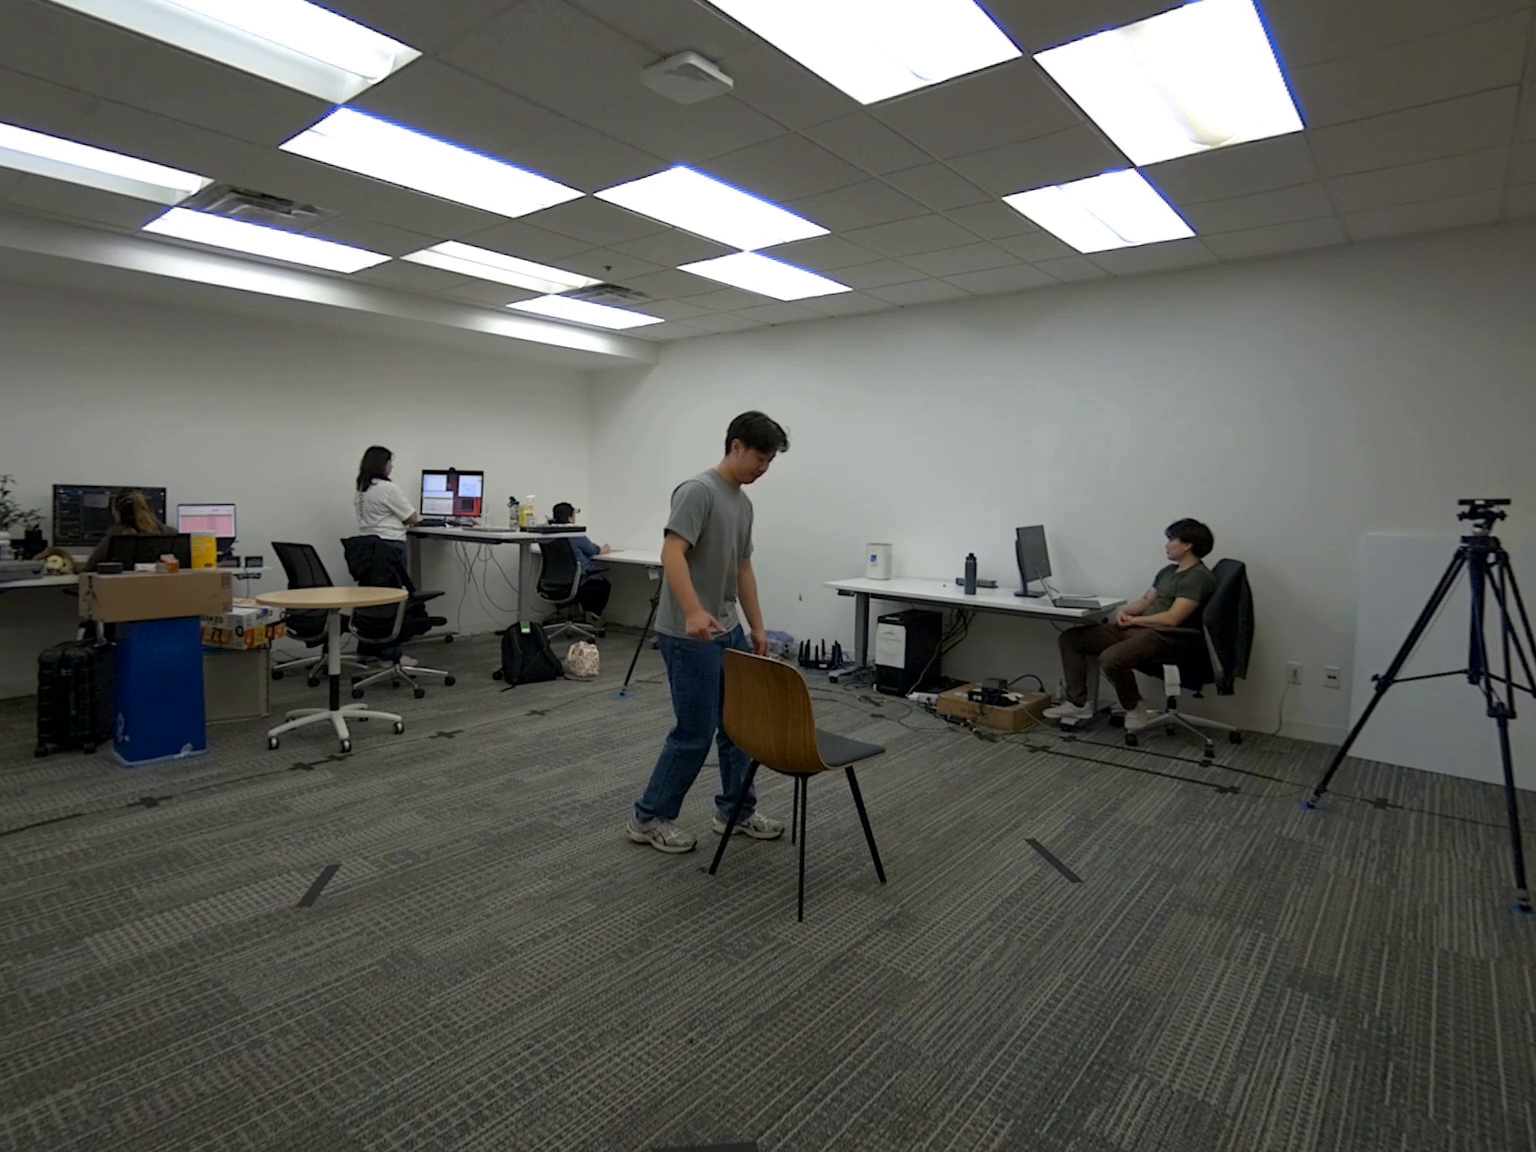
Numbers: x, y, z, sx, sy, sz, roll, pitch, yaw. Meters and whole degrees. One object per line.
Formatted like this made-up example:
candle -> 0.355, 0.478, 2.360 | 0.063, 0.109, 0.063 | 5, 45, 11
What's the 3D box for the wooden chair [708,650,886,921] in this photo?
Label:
wooden chair -> 0.109, 0.654, 3.033 | 0.509, 0.872, 0.494 | -7, 8, -43
